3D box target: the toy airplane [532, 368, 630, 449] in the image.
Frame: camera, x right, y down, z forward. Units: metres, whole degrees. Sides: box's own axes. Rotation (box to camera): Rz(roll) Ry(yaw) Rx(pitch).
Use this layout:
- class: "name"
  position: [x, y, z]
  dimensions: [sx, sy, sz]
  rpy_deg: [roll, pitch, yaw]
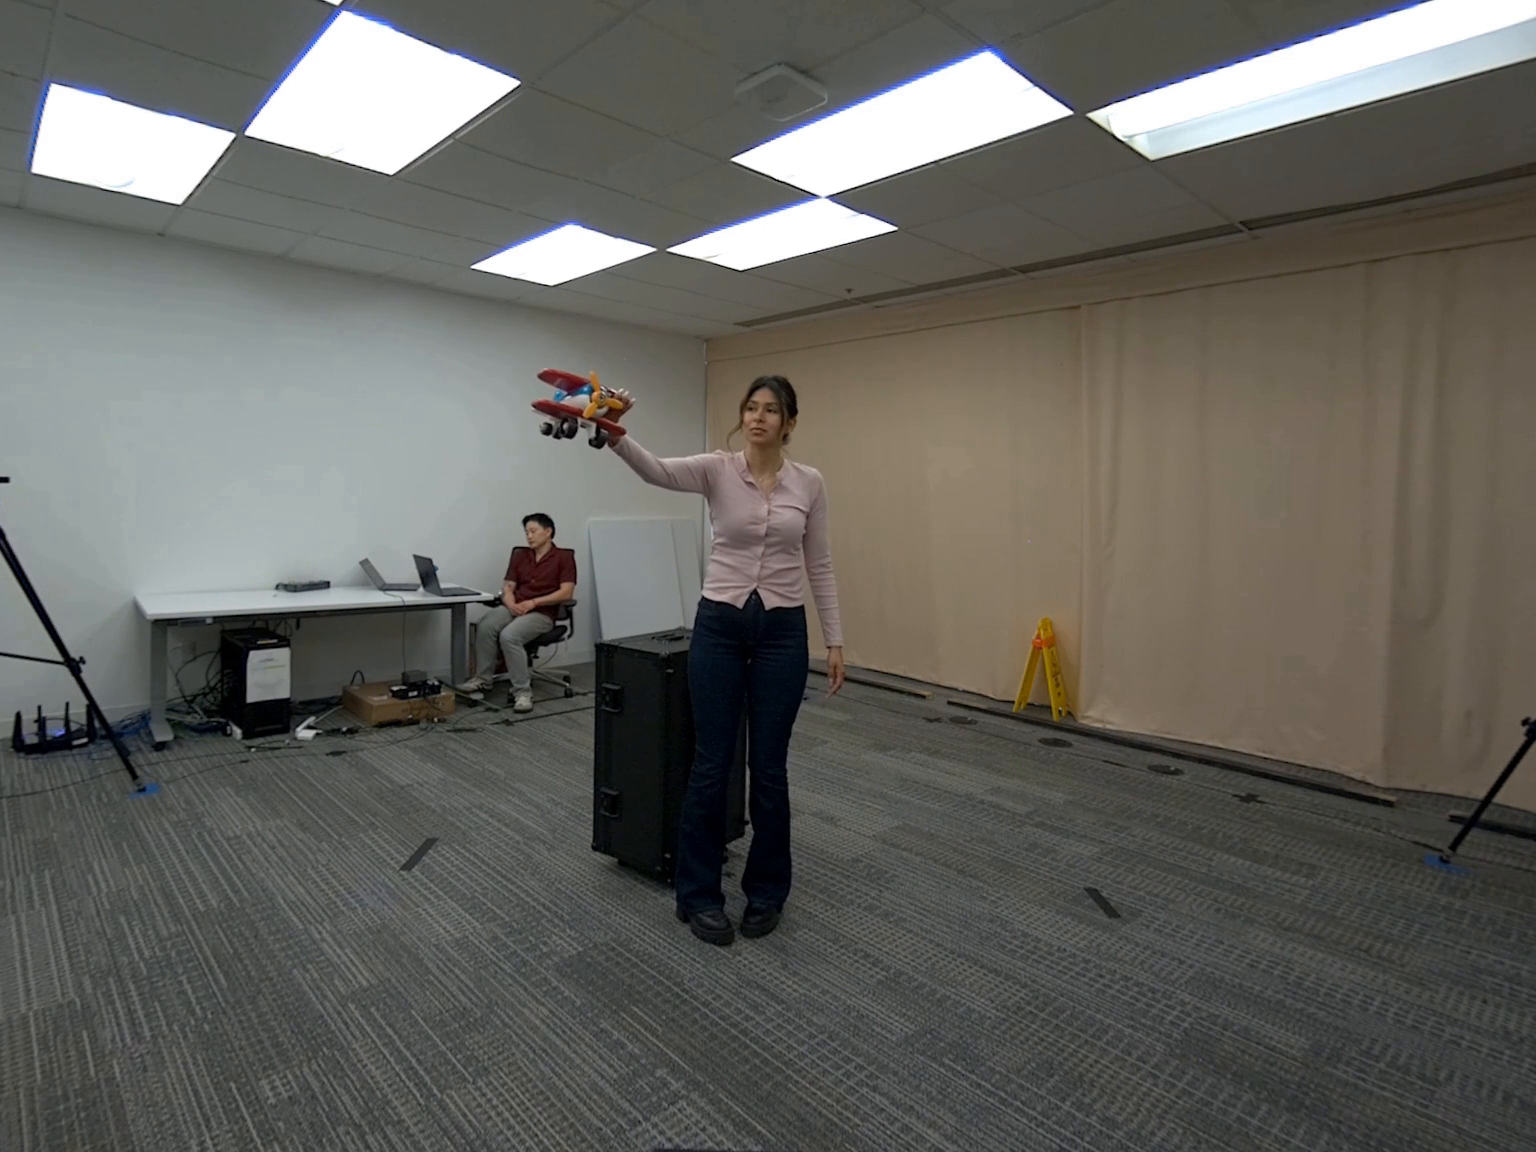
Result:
- class: "toy airplane"
  position: [-0.517, -0.425, 2.124]
  dimensions: [0.265, 0.156, 0.246]
  rpy_deg: [19, 1, 23]
